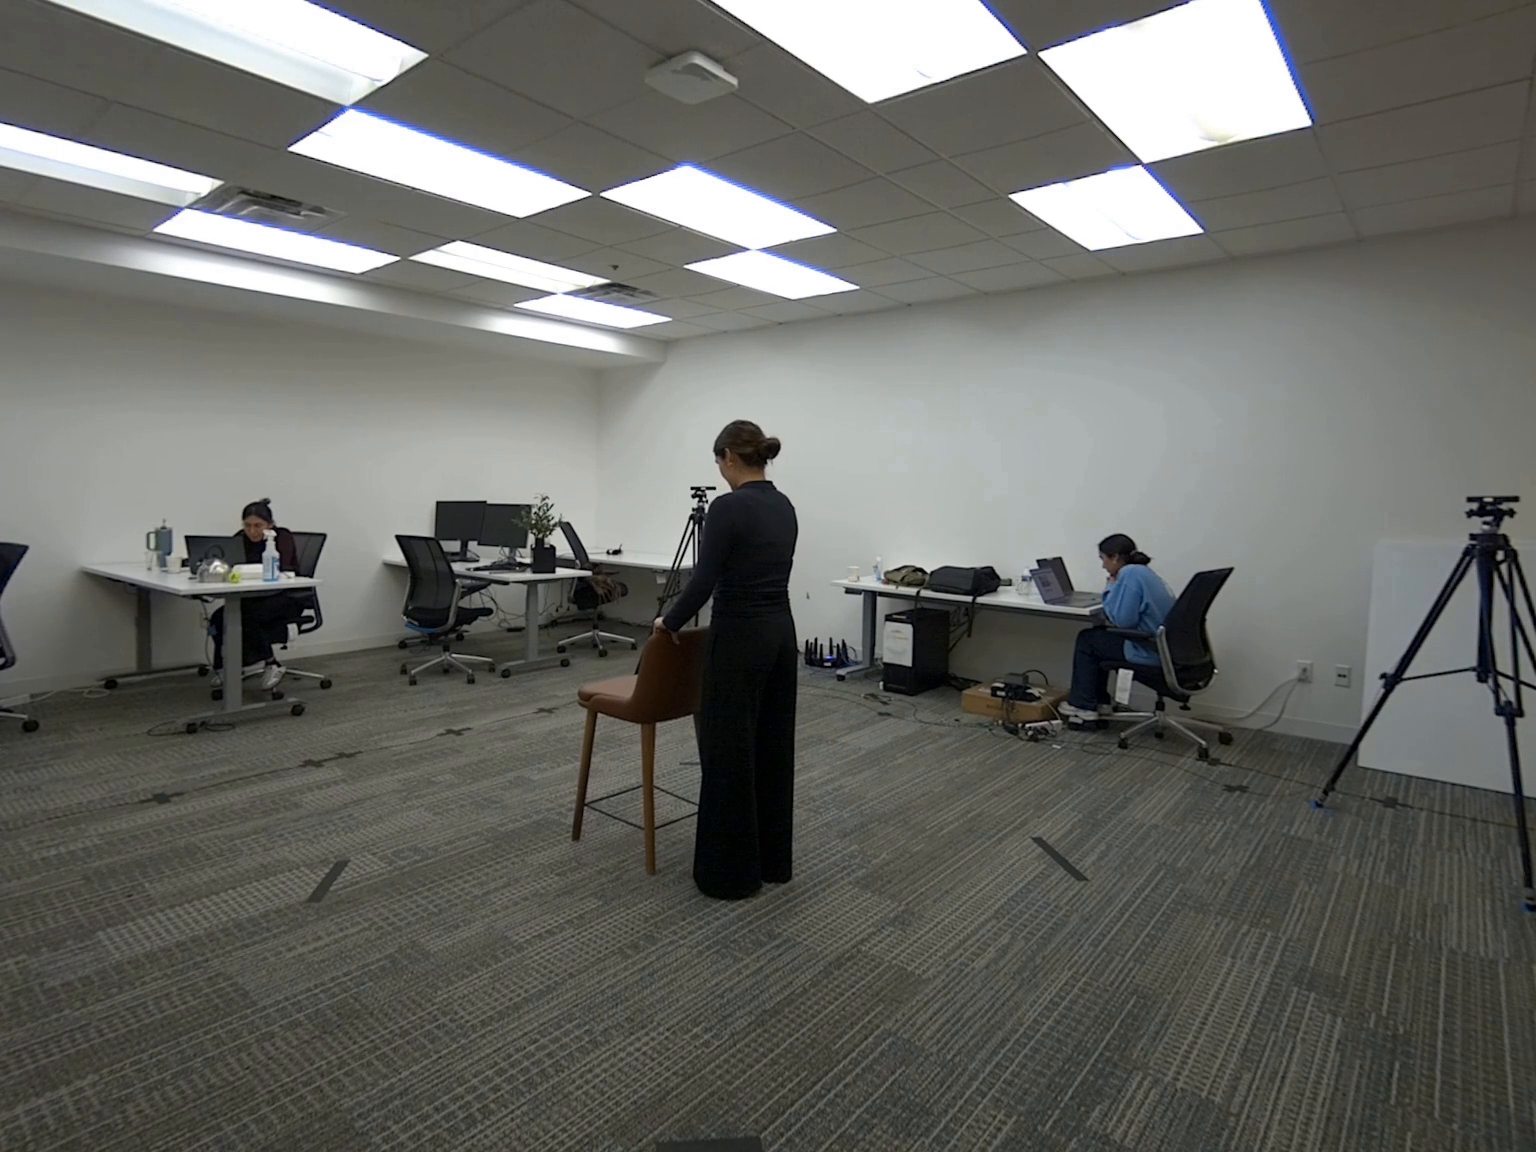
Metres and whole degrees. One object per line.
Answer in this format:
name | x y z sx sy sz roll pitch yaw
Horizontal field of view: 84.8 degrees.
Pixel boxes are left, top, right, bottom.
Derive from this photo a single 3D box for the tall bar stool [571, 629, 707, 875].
tall bar stool | -0.468 0.603 3.304 0.484 0.886 0.443 7 6 42
